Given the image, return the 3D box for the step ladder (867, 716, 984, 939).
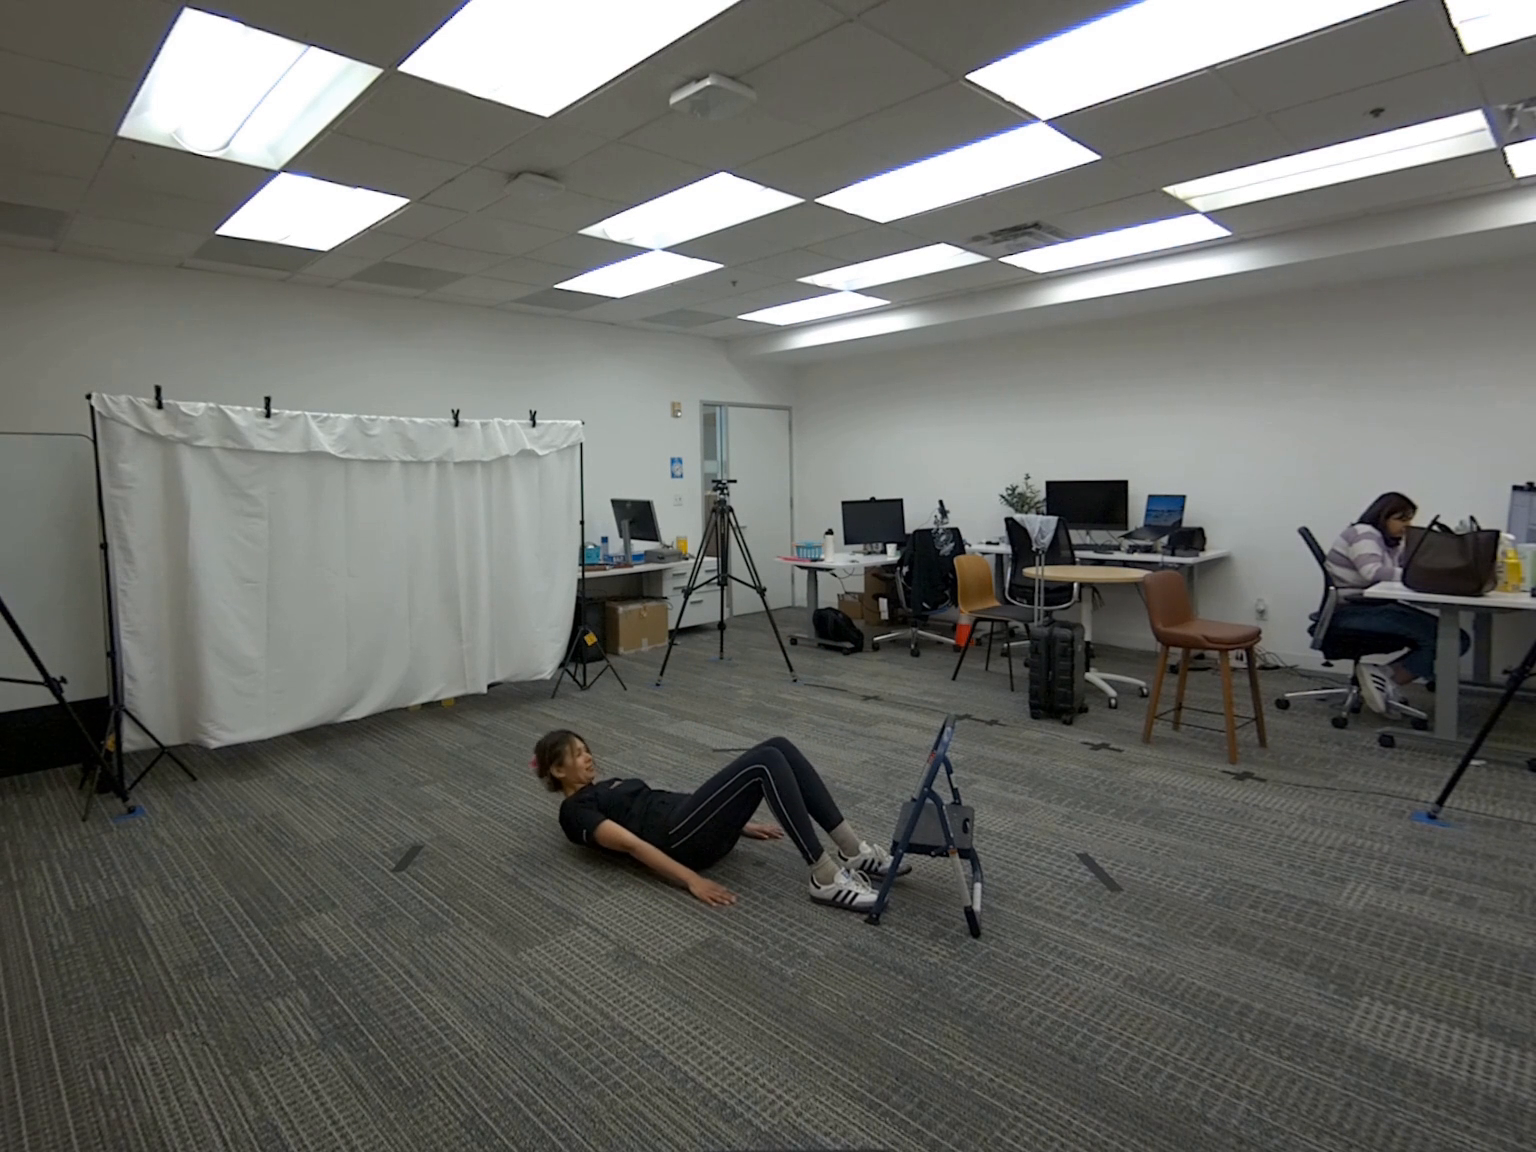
[{"bbox_3d":[0.524,0.767,2.802,0.355,0.604,0.425,0,4,16],"label":"step ladder"}]
